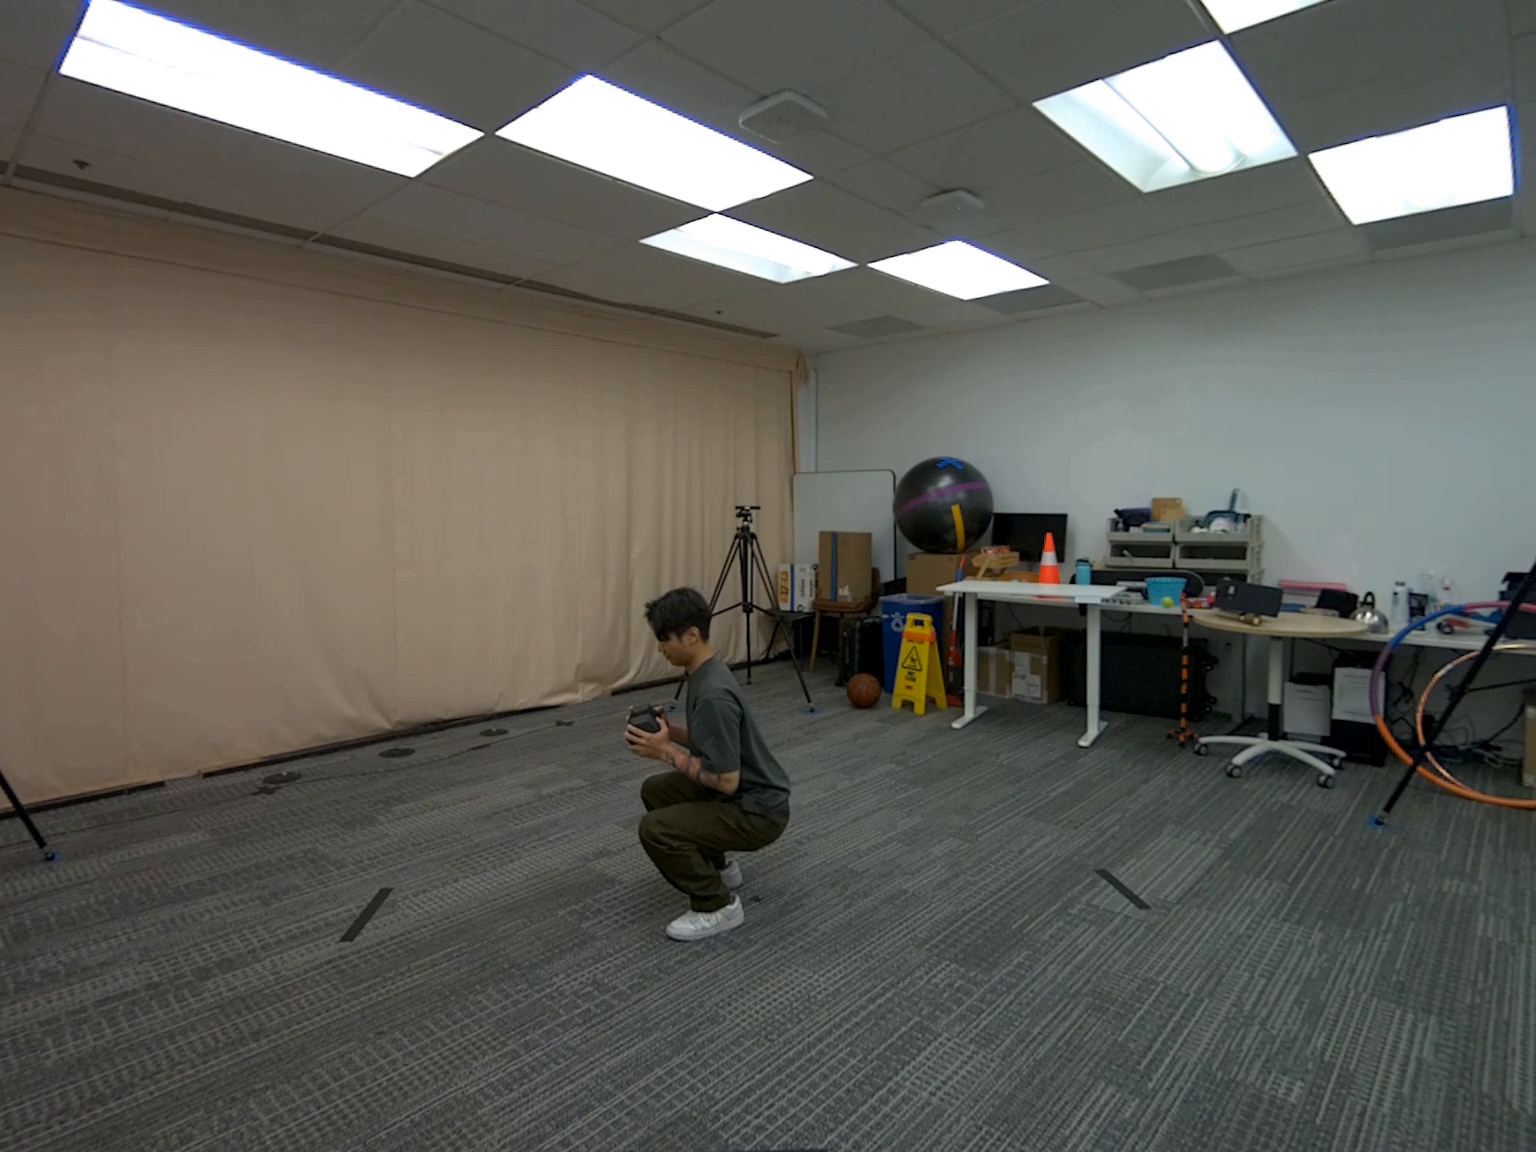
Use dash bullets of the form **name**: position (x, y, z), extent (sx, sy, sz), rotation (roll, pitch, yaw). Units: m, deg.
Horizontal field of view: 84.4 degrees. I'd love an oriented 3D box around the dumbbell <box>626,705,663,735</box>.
- **dumbbell**: position (-0.426, 0.524, 2.916), extent (0.108, 0.122, 0.296), rotation (-43, 7, -5)
